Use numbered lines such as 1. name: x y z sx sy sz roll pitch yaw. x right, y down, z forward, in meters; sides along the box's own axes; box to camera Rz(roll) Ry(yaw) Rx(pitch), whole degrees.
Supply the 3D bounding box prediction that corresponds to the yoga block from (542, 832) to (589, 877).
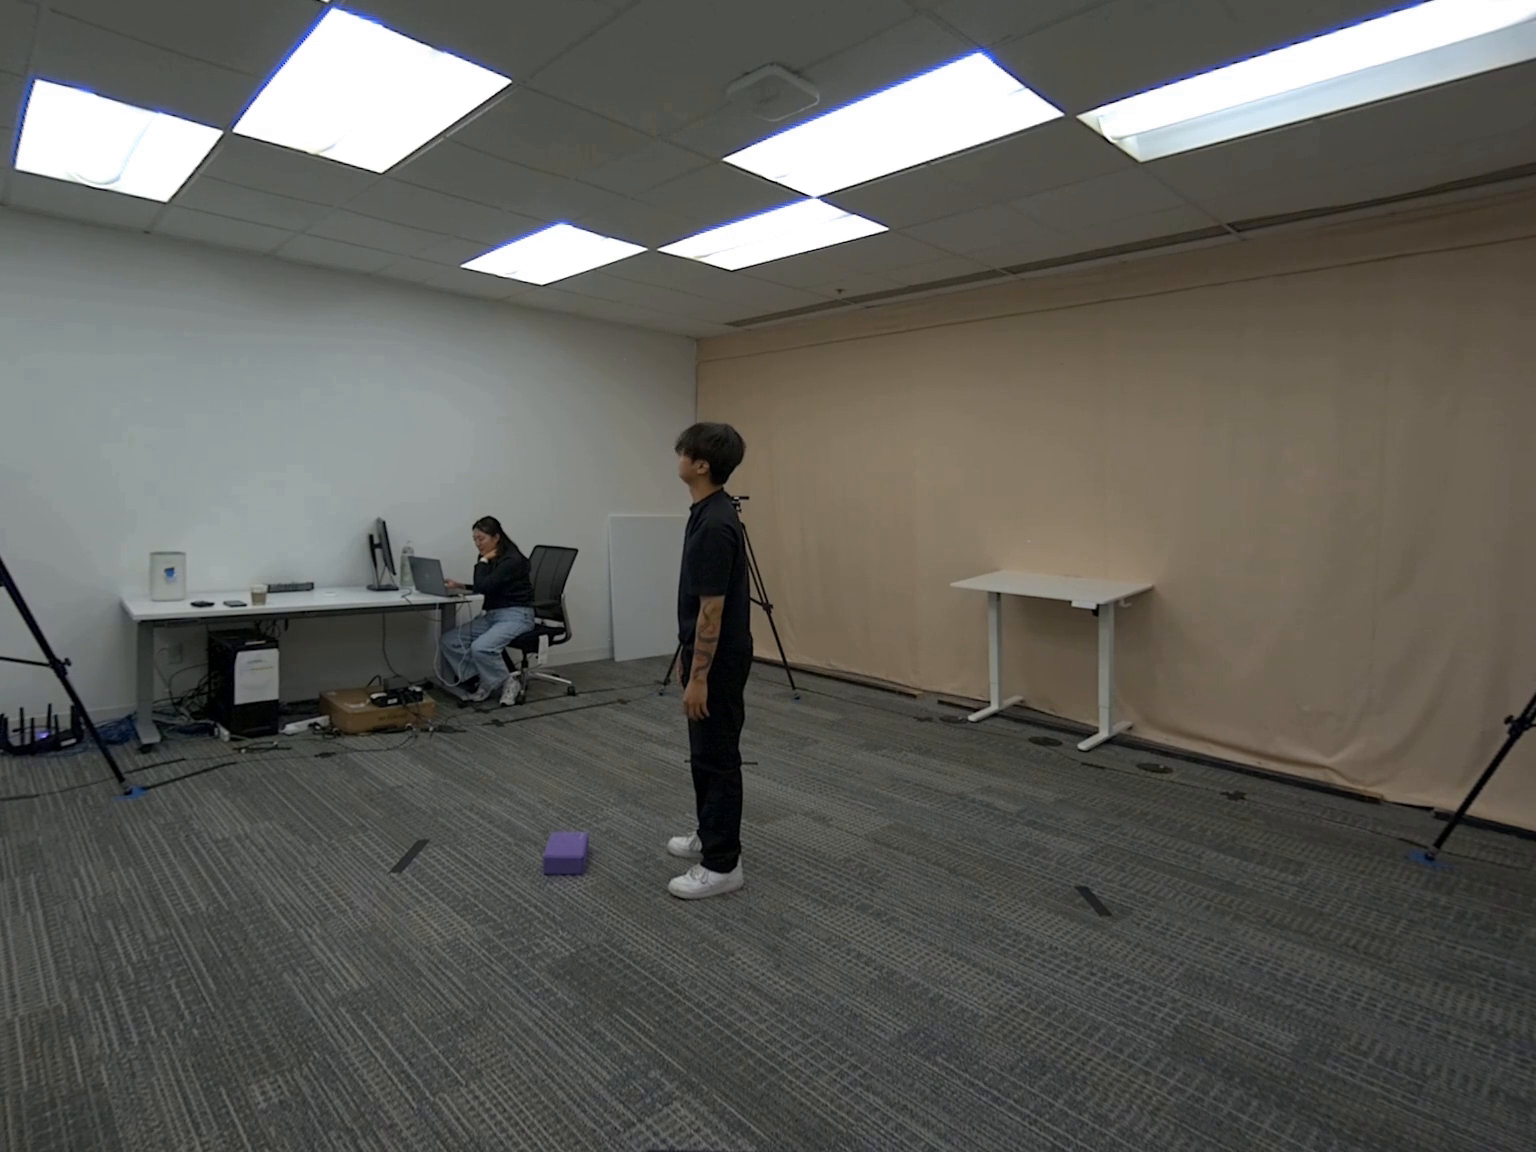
1. yoga block: -0.763 1.042 3.176 0.148 0.076 0.231 1 7 -5
